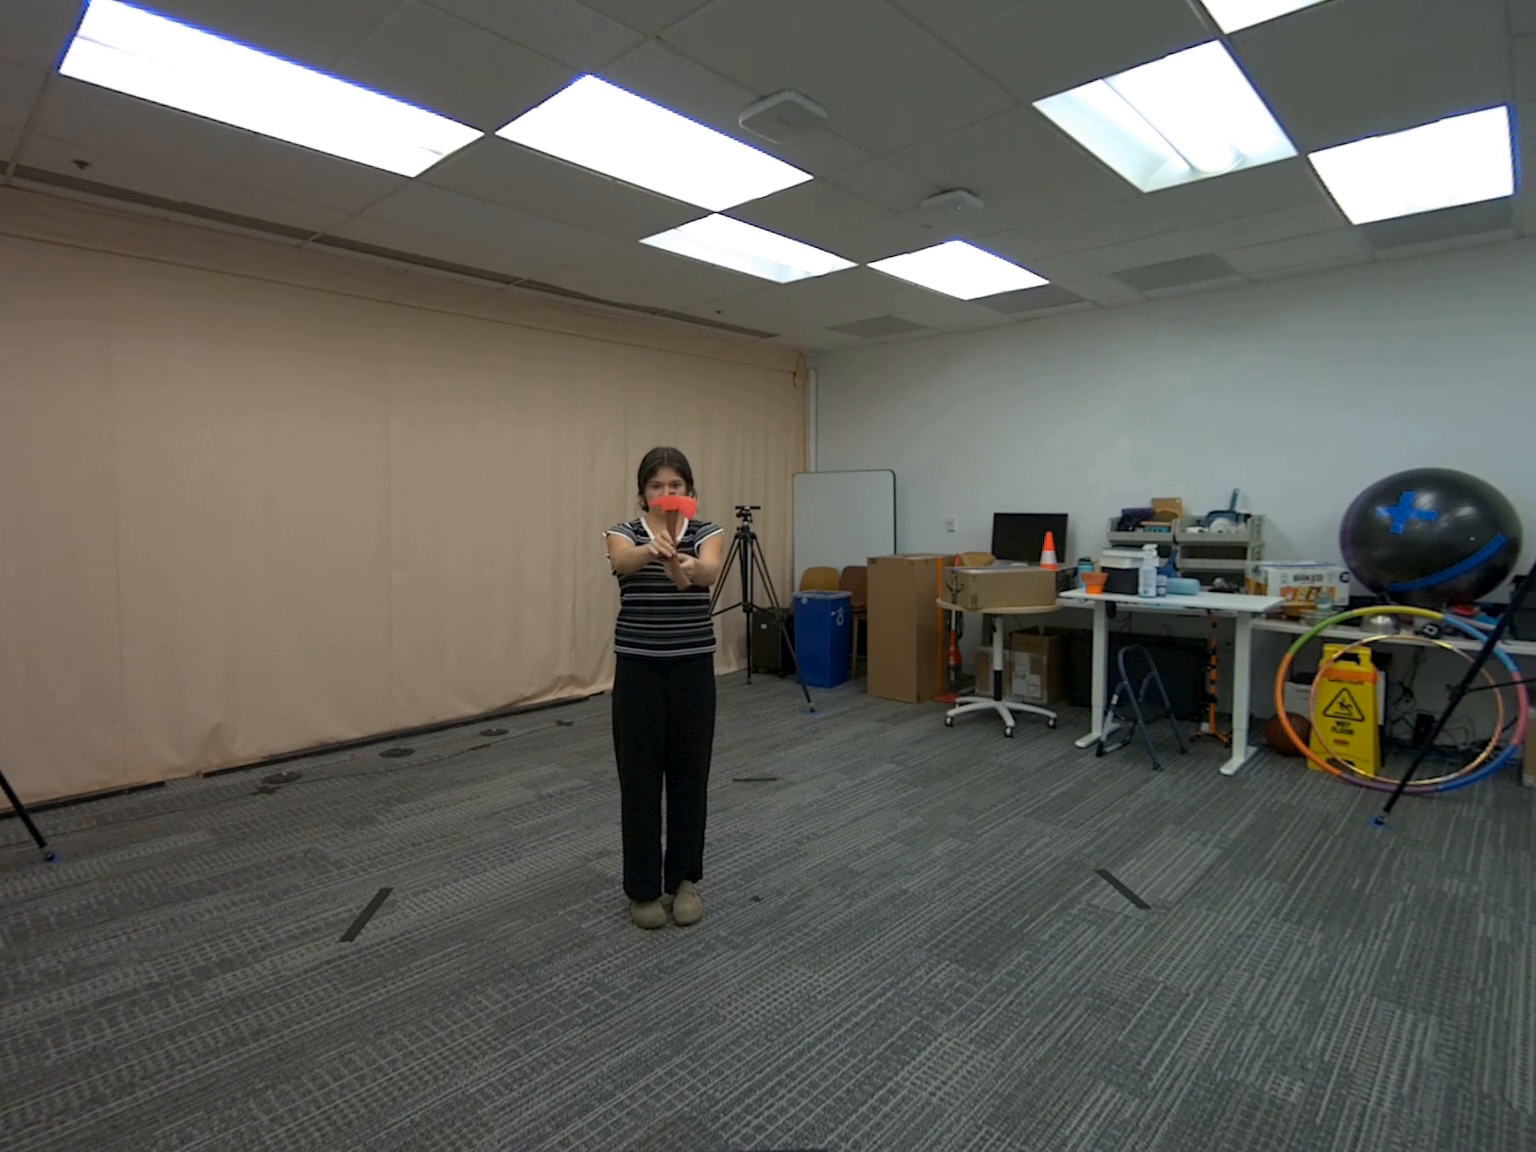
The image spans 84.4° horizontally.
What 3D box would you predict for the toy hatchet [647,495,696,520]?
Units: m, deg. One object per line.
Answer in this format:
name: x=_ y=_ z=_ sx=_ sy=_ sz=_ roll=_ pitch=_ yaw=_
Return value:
toy hatchet: x=-0.215 y=-0.106 z=2.290 sx=0.132 sy=0.272 sz=0.029 roll=-23 pitch=-9 yaw=7
